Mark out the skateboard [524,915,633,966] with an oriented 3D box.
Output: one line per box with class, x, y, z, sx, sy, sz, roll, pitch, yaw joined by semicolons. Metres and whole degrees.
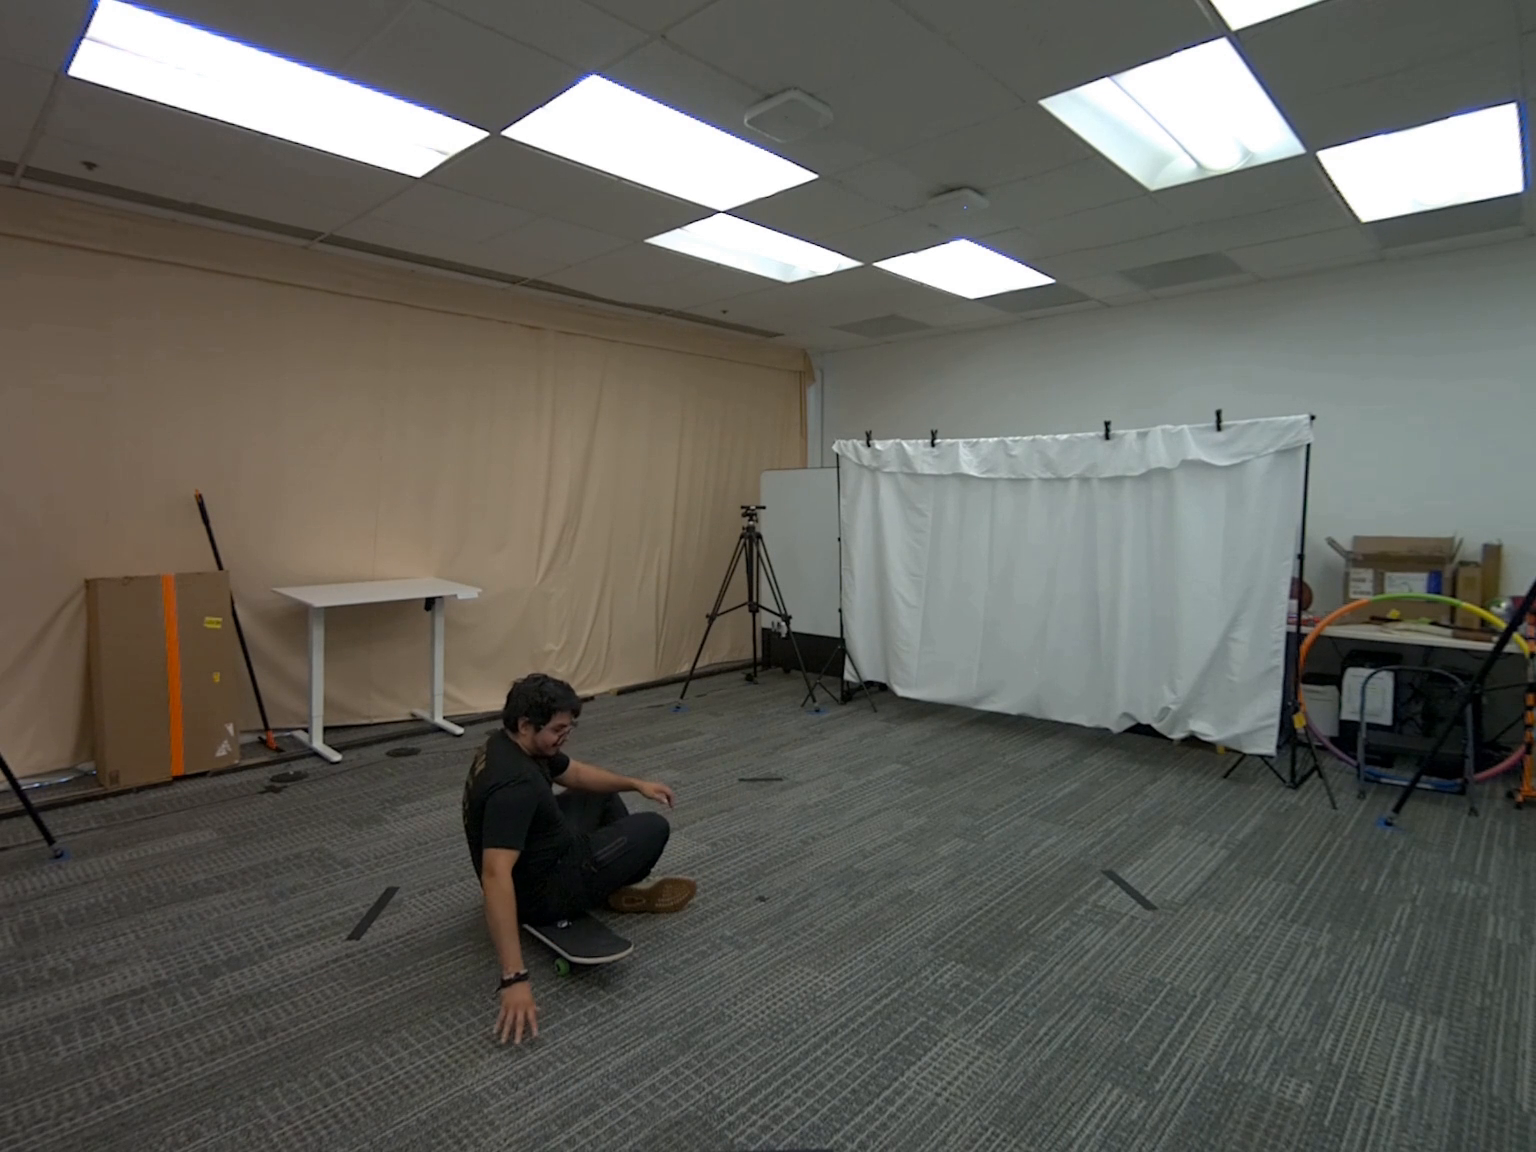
skateboard;-0.691;1.110;2.718;0.187;0.110;0.811;-2;4;-39
